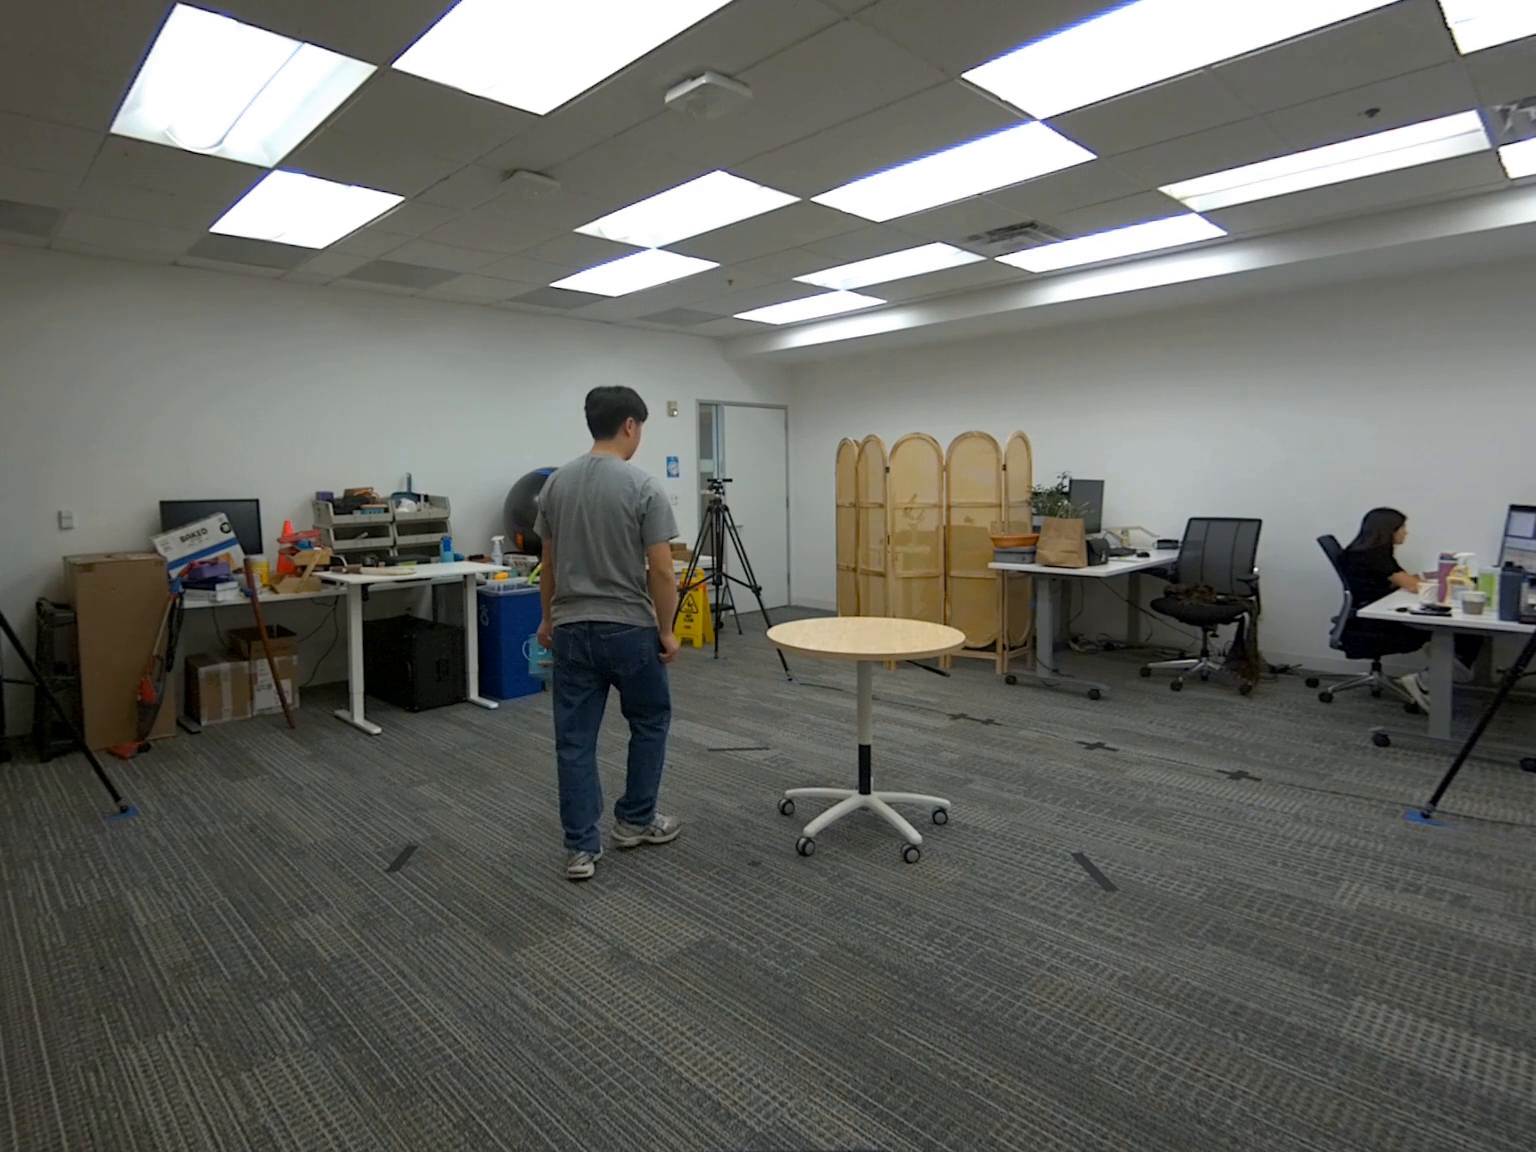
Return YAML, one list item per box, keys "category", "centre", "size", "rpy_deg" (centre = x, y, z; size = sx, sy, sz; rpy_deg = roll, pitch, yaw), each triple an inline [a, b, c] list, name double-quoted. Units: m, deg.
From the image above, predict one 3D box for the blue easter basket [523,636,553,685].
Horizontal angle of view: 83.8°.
- category: "blue easter basket"
  centre: [-0.856, 0.335, 3.425]
  size: [0.244, 0.158, 0.240]
  rpy_deg: [3, -18, -1]
